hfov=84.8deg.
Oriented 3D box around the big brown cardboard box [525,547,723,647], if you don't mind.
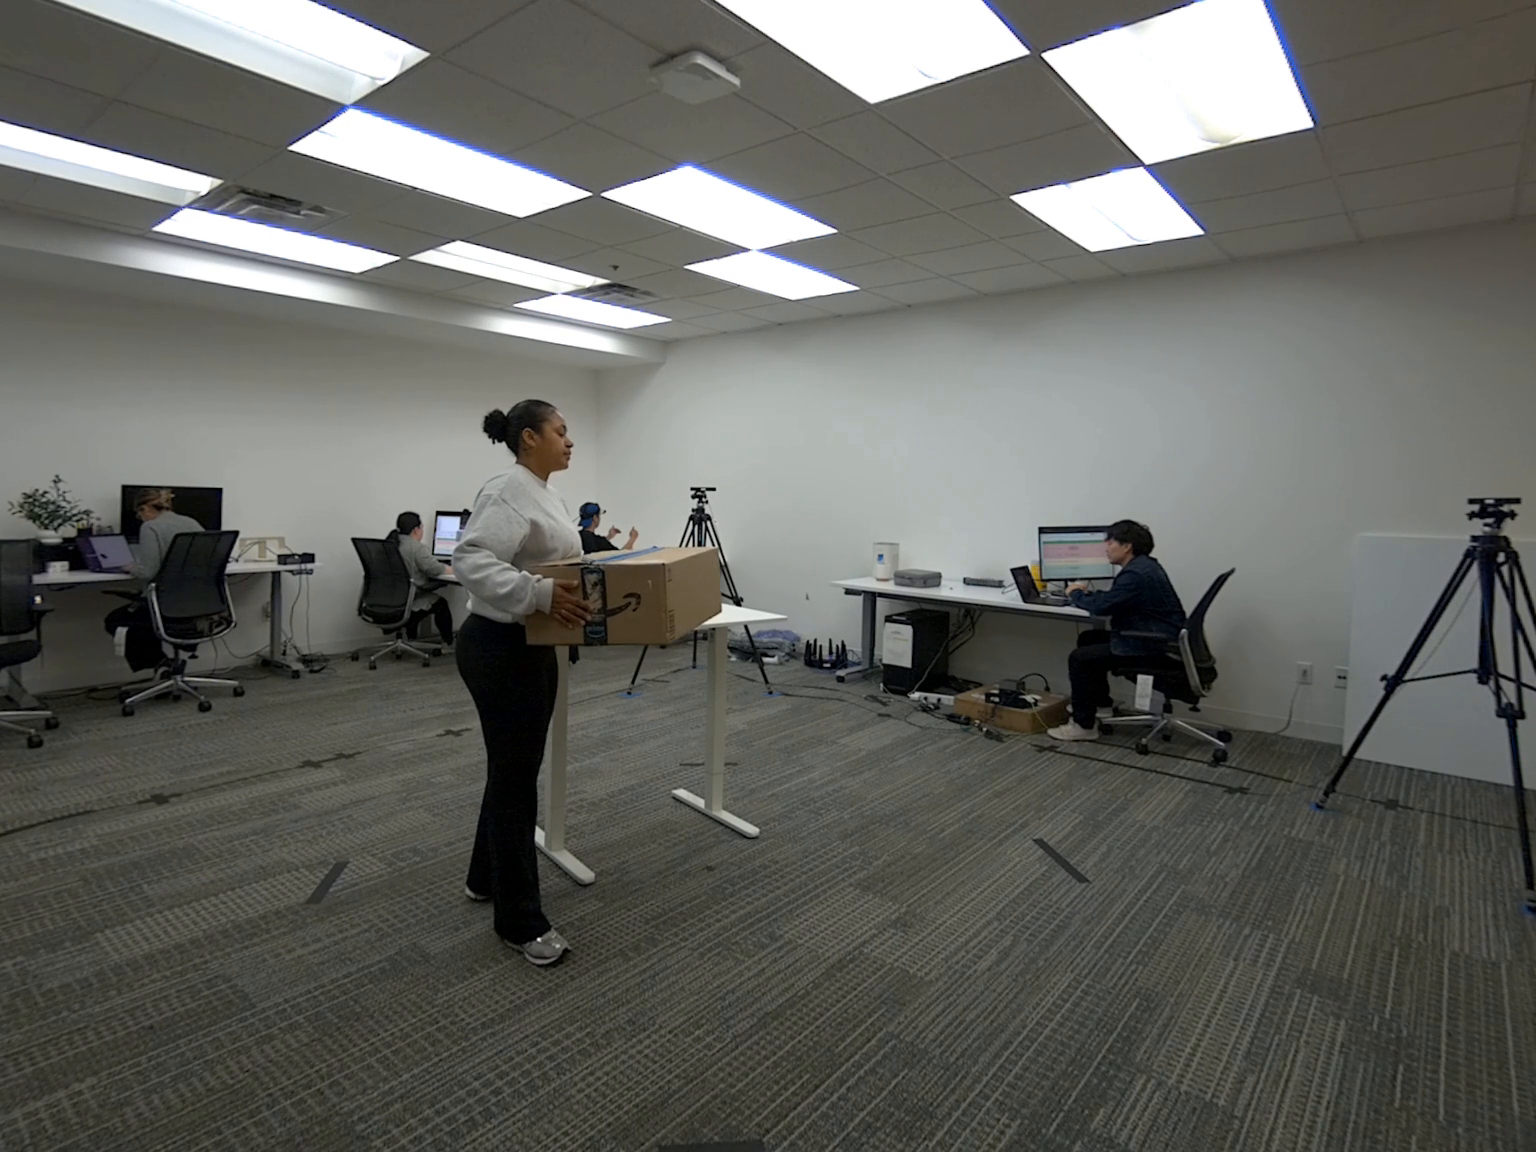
[{"bbox_3d":[-0.421,0.050,2.542,0.423,0.232,0.583,-2,5,12],"label":"big brown cardboard box"}]
